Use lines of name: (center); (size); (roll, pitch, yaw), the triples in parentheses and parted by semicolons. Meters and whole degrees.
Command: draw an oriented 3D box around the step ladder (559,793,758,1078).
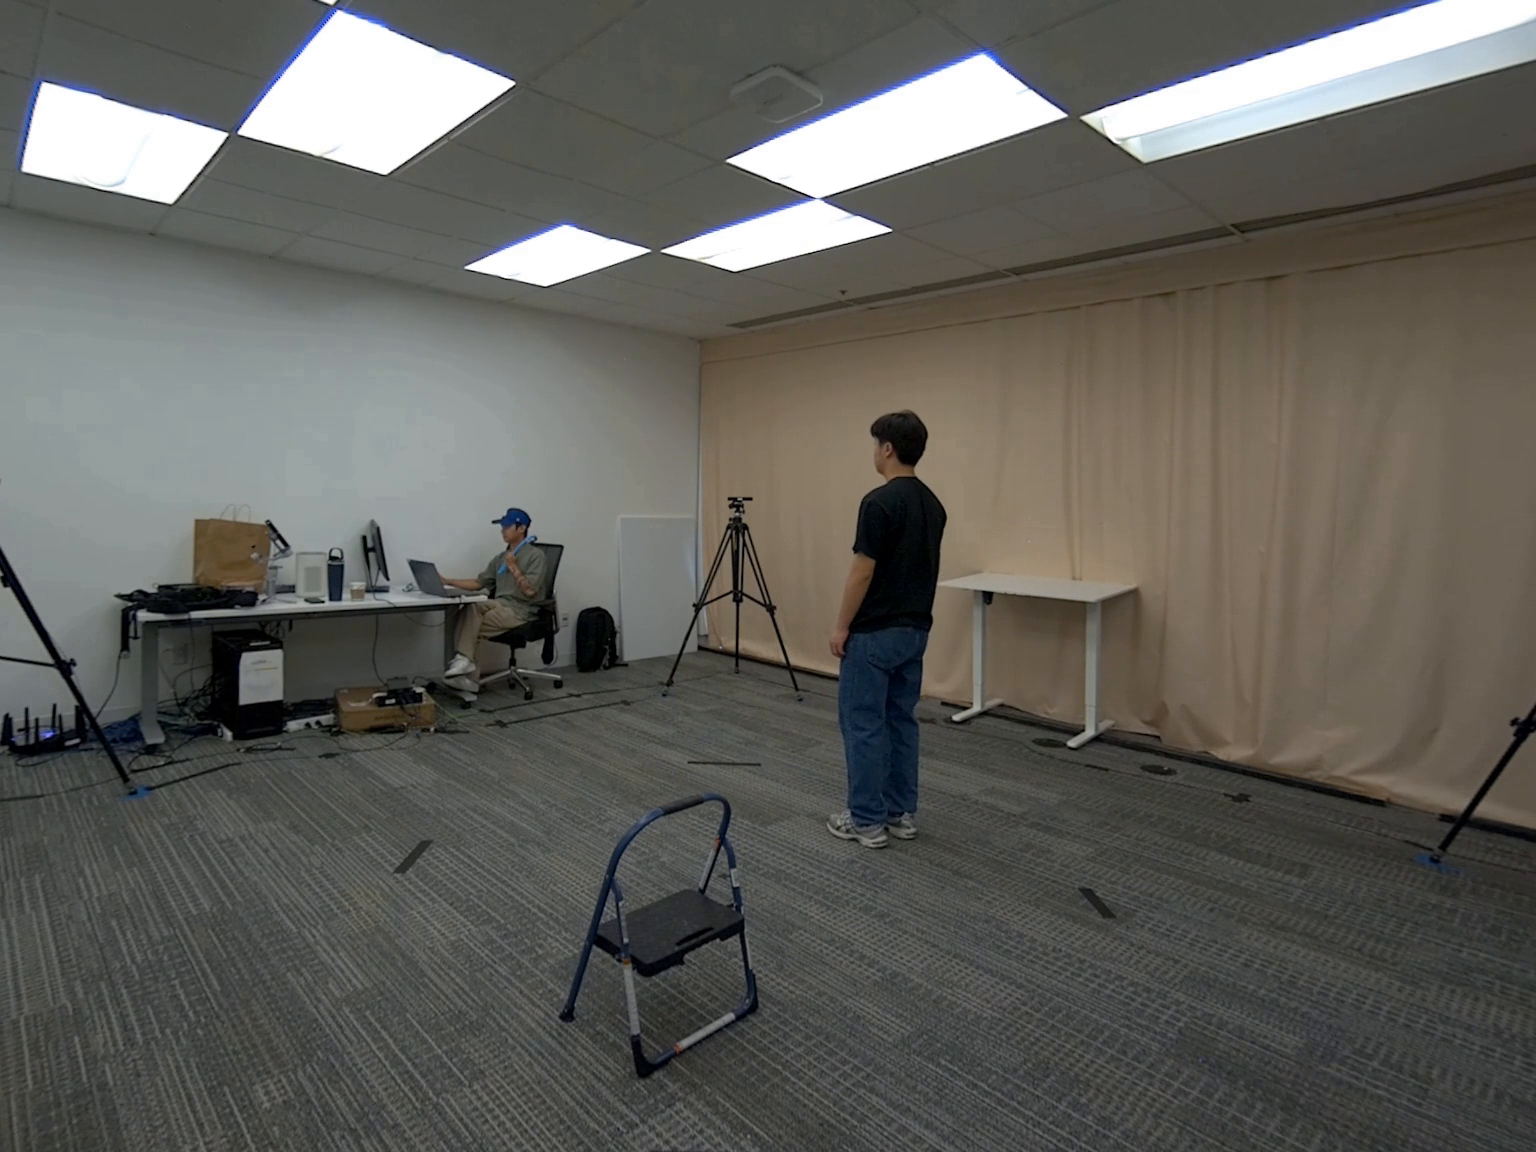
step ladder: (-0.284, 0.880, 2.254); (0.358, 0.604, 0.421); (5, 5, 43)
